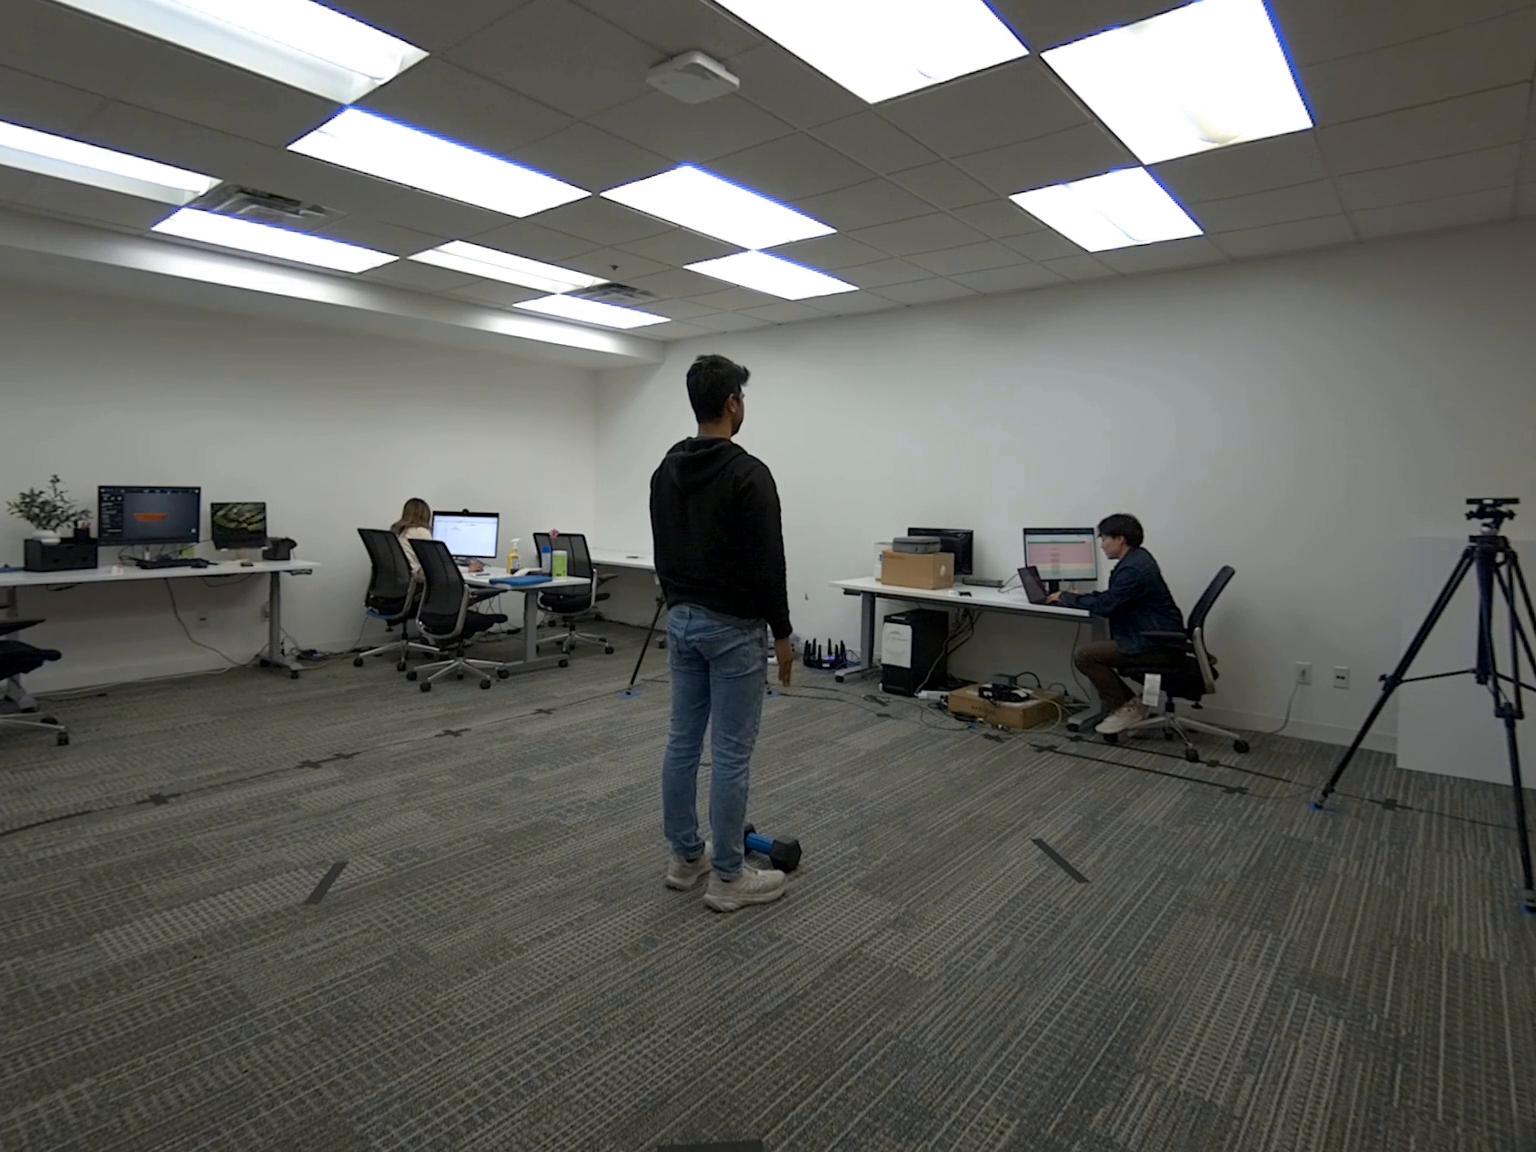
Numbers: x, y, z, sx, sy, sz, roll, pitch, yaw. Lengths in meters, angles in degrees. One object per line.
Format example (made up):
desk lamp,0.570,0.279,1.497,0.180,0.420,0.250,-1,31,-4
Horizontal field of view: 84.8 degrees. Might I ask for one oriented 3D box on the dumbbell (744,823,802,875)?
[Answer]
dumbbell,-0.028,1.006,3.195,0.303,0.119,0.108,5,36,38
